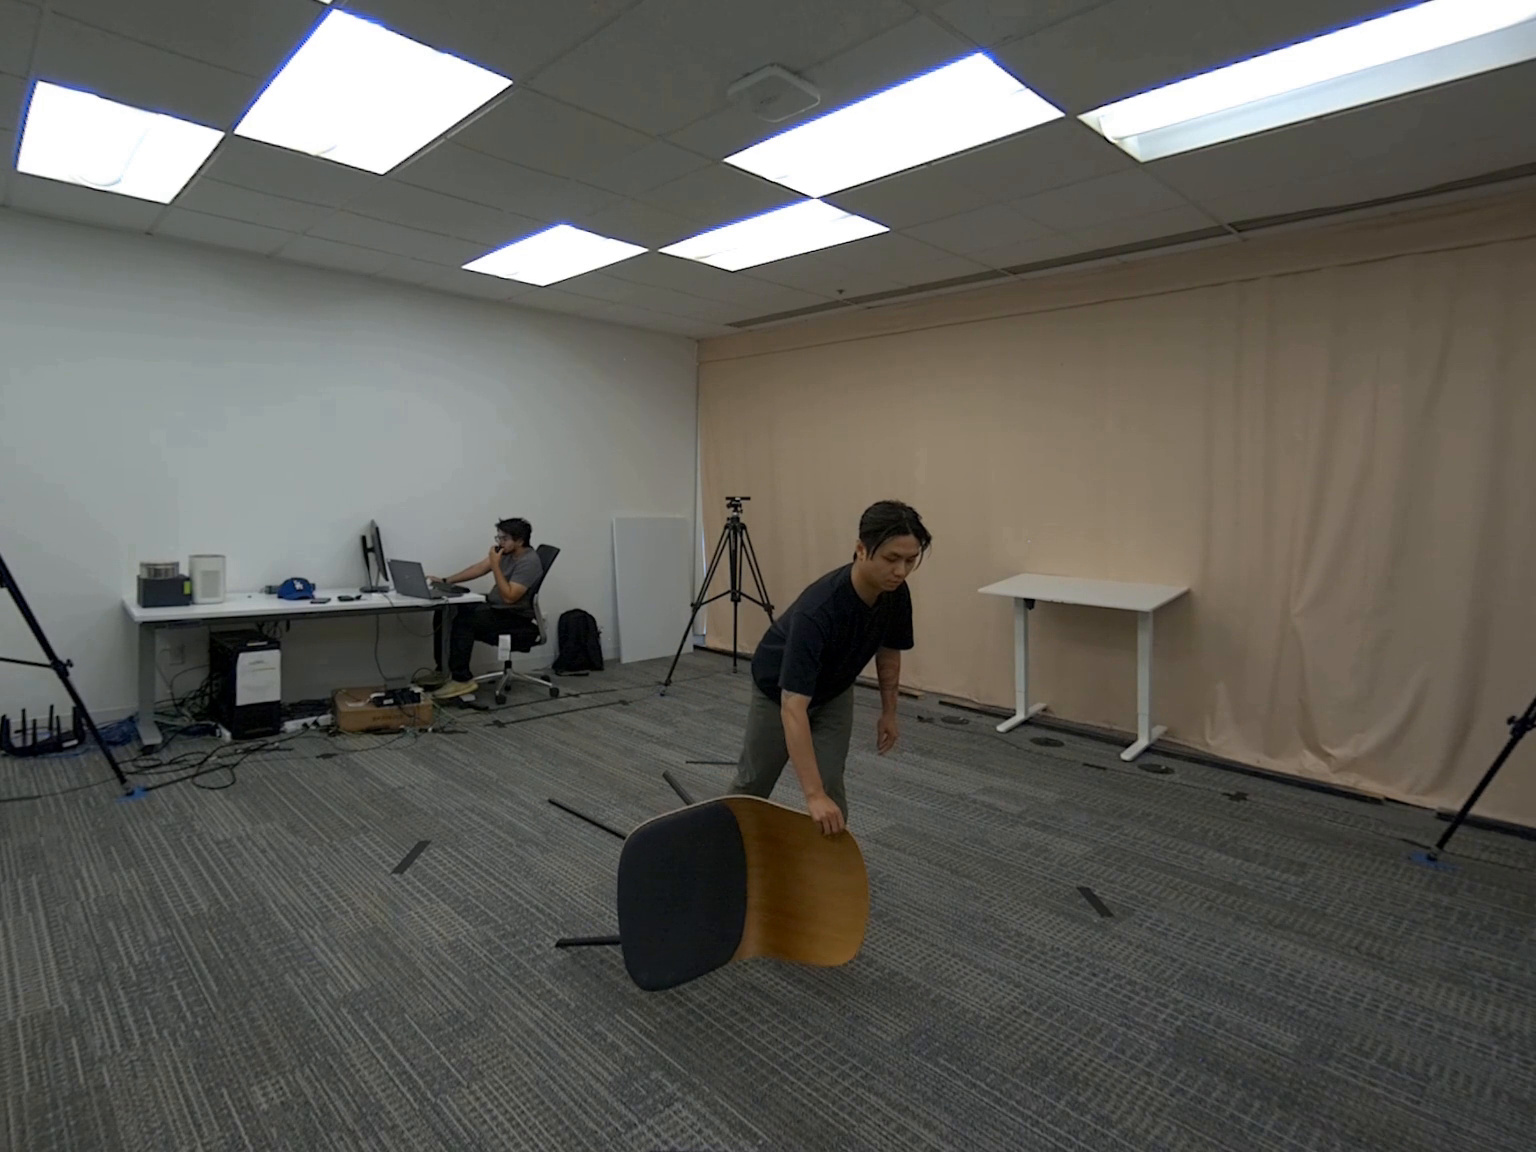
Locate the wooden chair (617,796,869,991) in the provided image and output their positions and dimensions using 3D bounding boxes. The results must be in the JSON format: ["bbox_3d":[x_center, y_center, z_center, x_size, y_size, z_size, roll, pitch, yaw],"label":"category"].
[{"bbox_3d":[-0.225,0.894,2.417,0.897,0.479,0.511,-3,-1,44],"label":"wooden chair"}]
